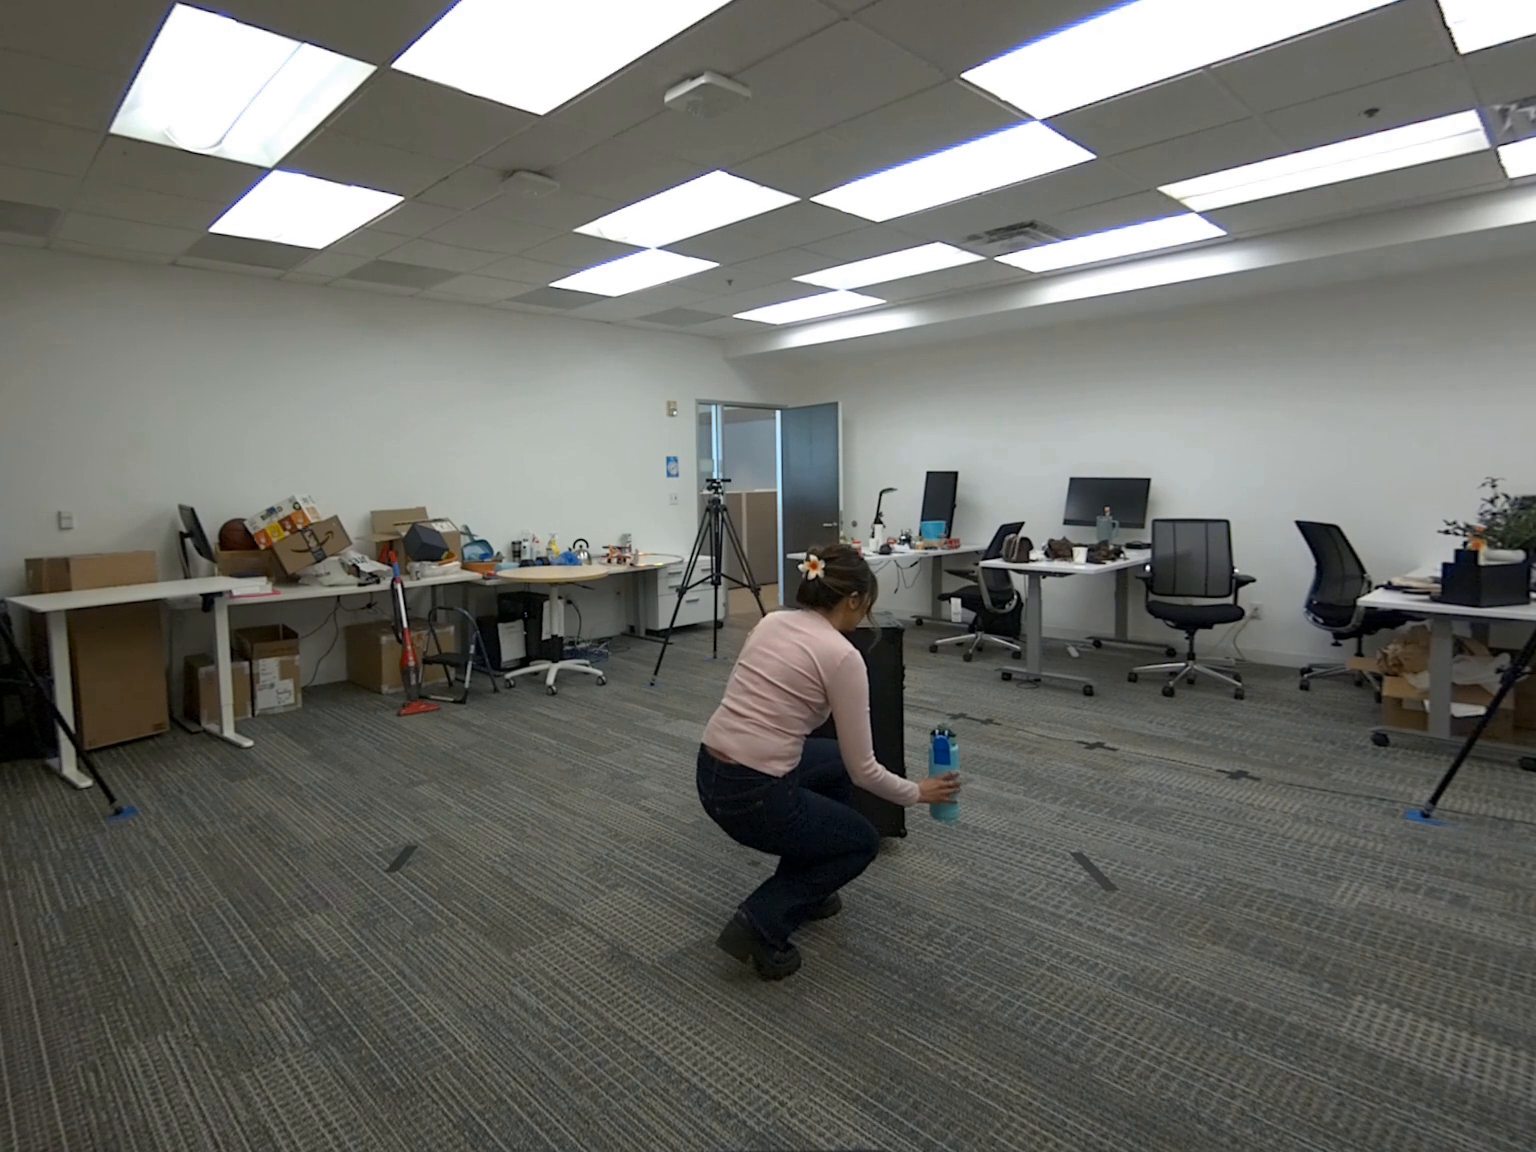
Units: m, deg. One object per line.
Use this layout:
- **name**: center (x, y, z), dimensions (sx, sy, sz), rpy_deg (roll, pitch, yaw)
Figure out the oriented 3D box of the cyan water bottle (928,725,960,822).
- **cyan water bottle**: center (0.528, 0.593, 2.607), dimensions (0.092, 0.281, 0.093), rpy_deg (-1, 7, -2)
